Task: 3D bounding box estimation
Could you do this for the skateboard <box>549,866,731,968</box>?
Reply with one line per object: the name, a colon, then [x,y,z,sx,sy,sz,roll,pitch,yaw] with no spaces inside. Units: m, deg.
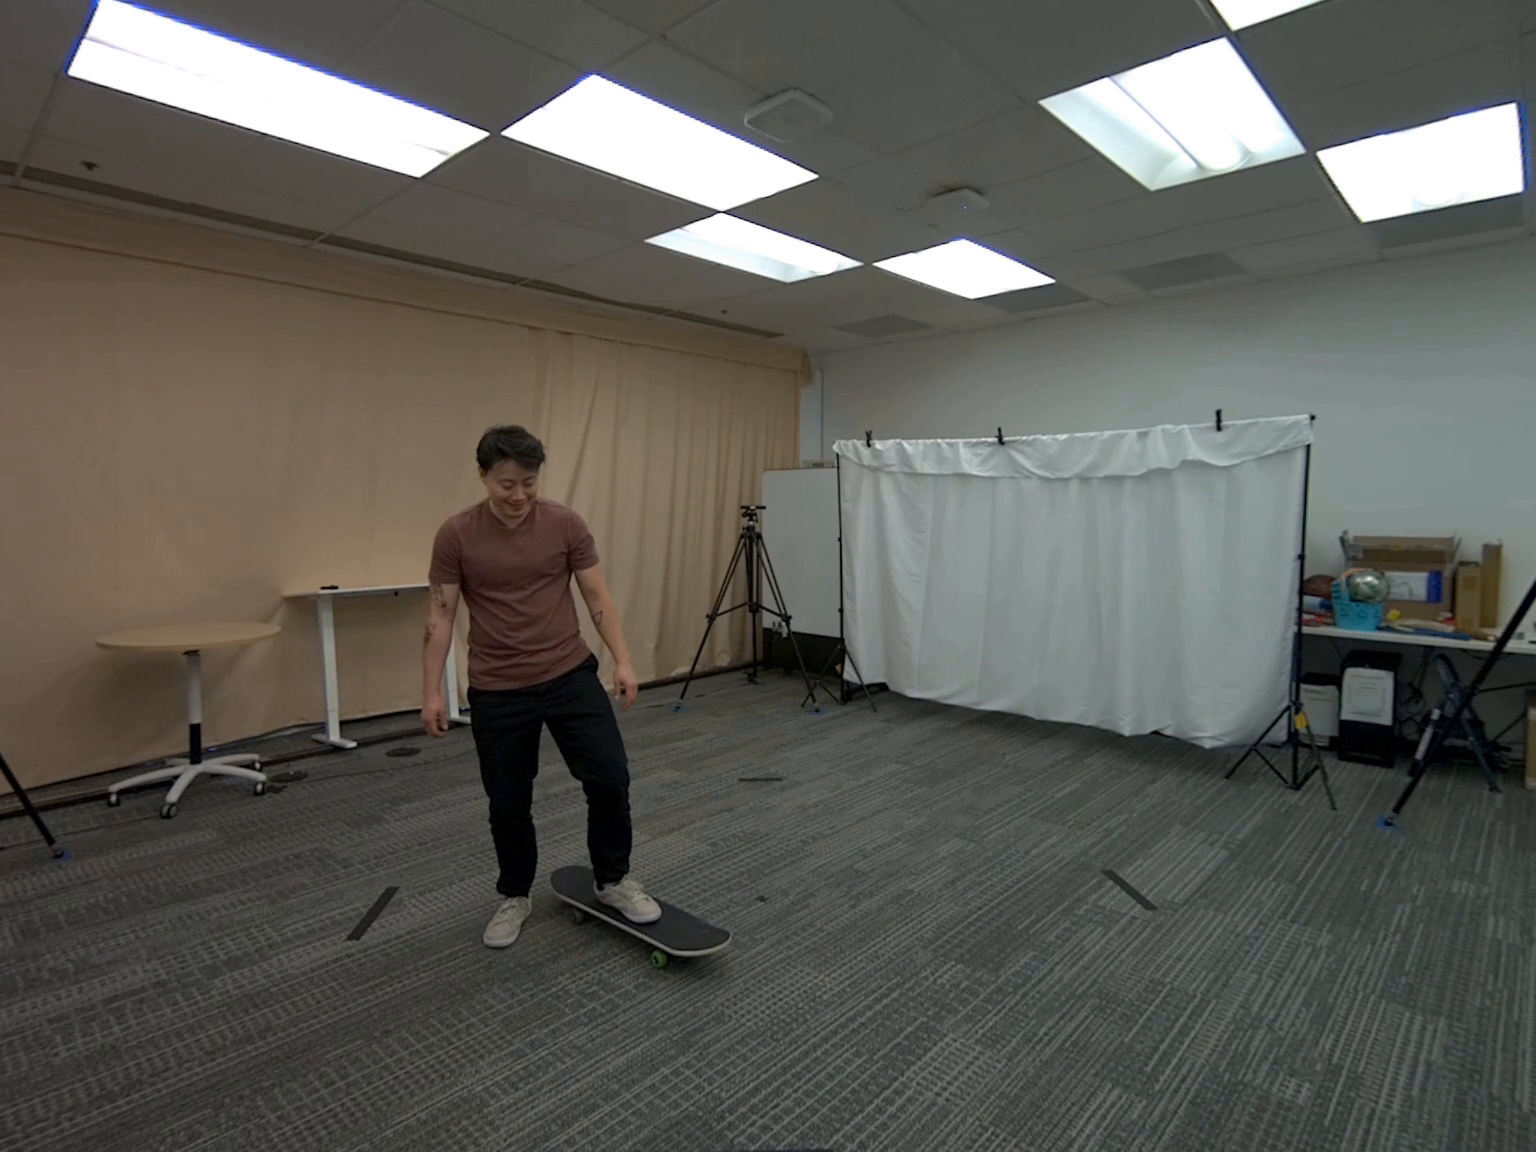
skateboard: [-0.430,1.113,2.723,0.811,0.110,0.188,3,6,40]
